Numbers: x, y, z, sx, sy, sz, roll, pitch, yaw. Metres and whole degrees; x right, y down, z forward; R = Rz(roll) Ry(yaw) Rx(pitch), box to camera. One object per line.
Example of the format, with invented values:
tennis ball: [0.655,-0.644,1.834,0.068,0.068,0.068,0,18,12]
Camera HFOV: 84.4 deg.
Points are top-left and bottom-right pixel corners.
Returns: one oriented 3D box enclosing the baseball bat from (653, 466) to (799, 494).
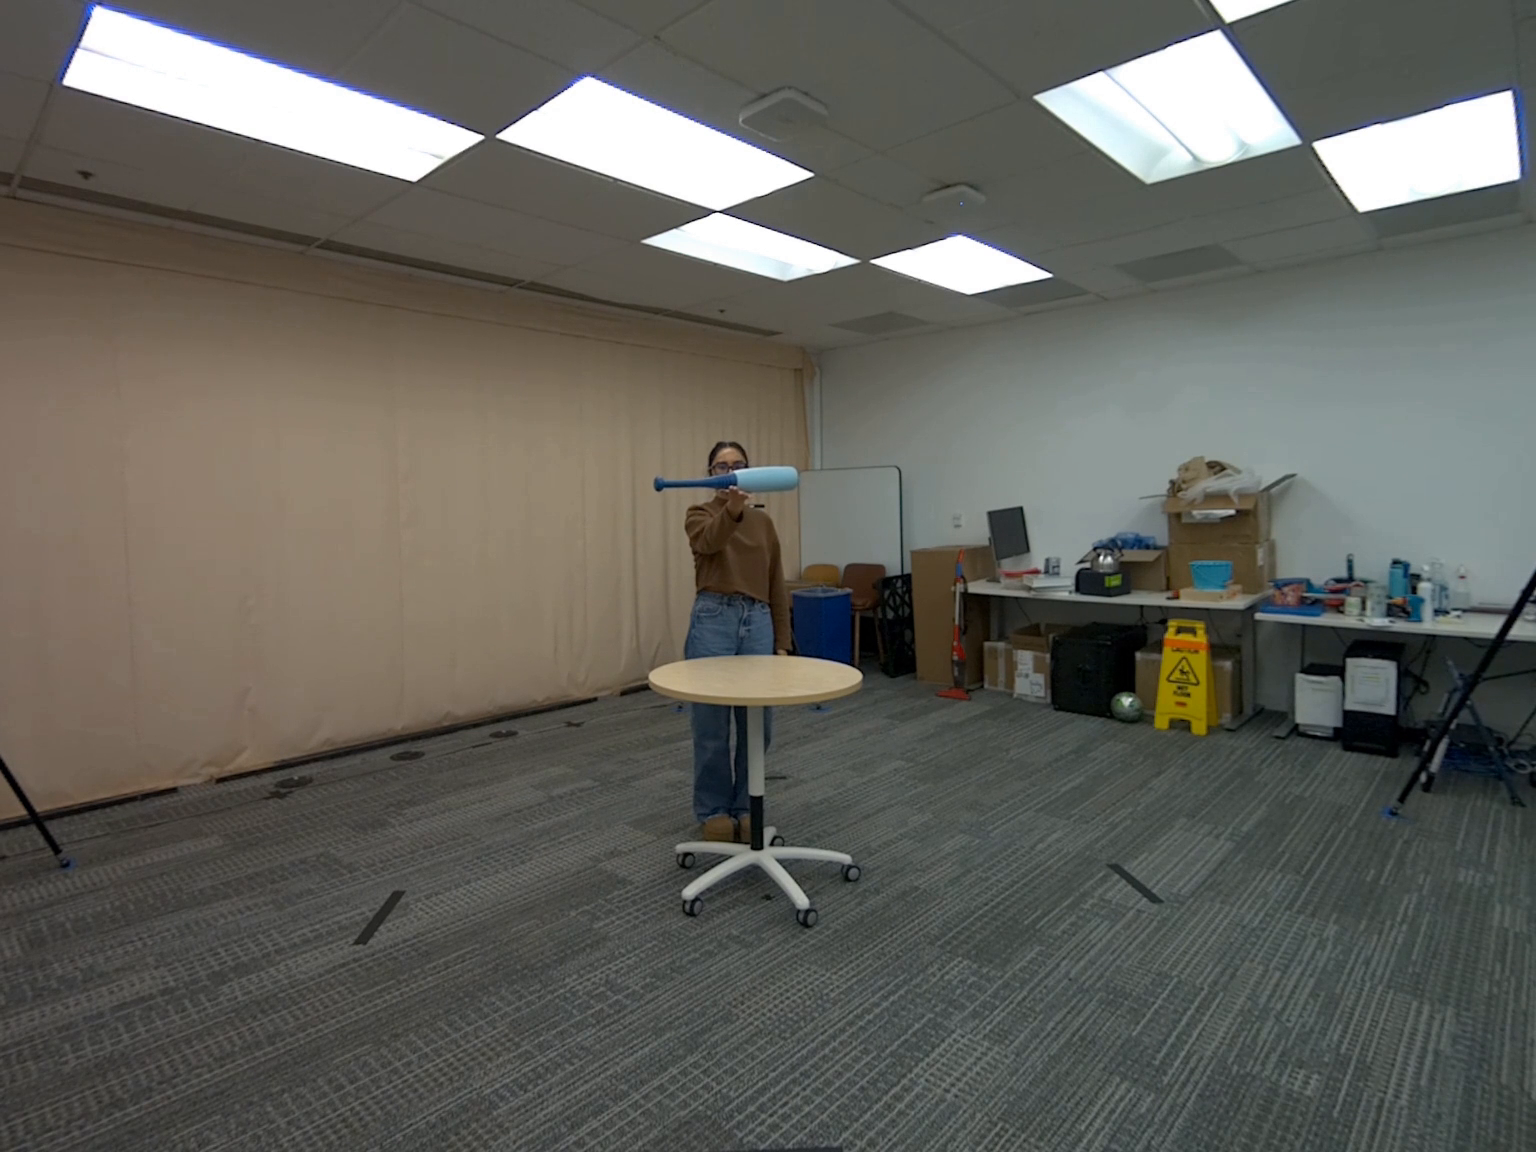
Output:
baseball bat: [-0.136,-0.328,2.921,0.530,0.089,0.091,-5,5,-27]
